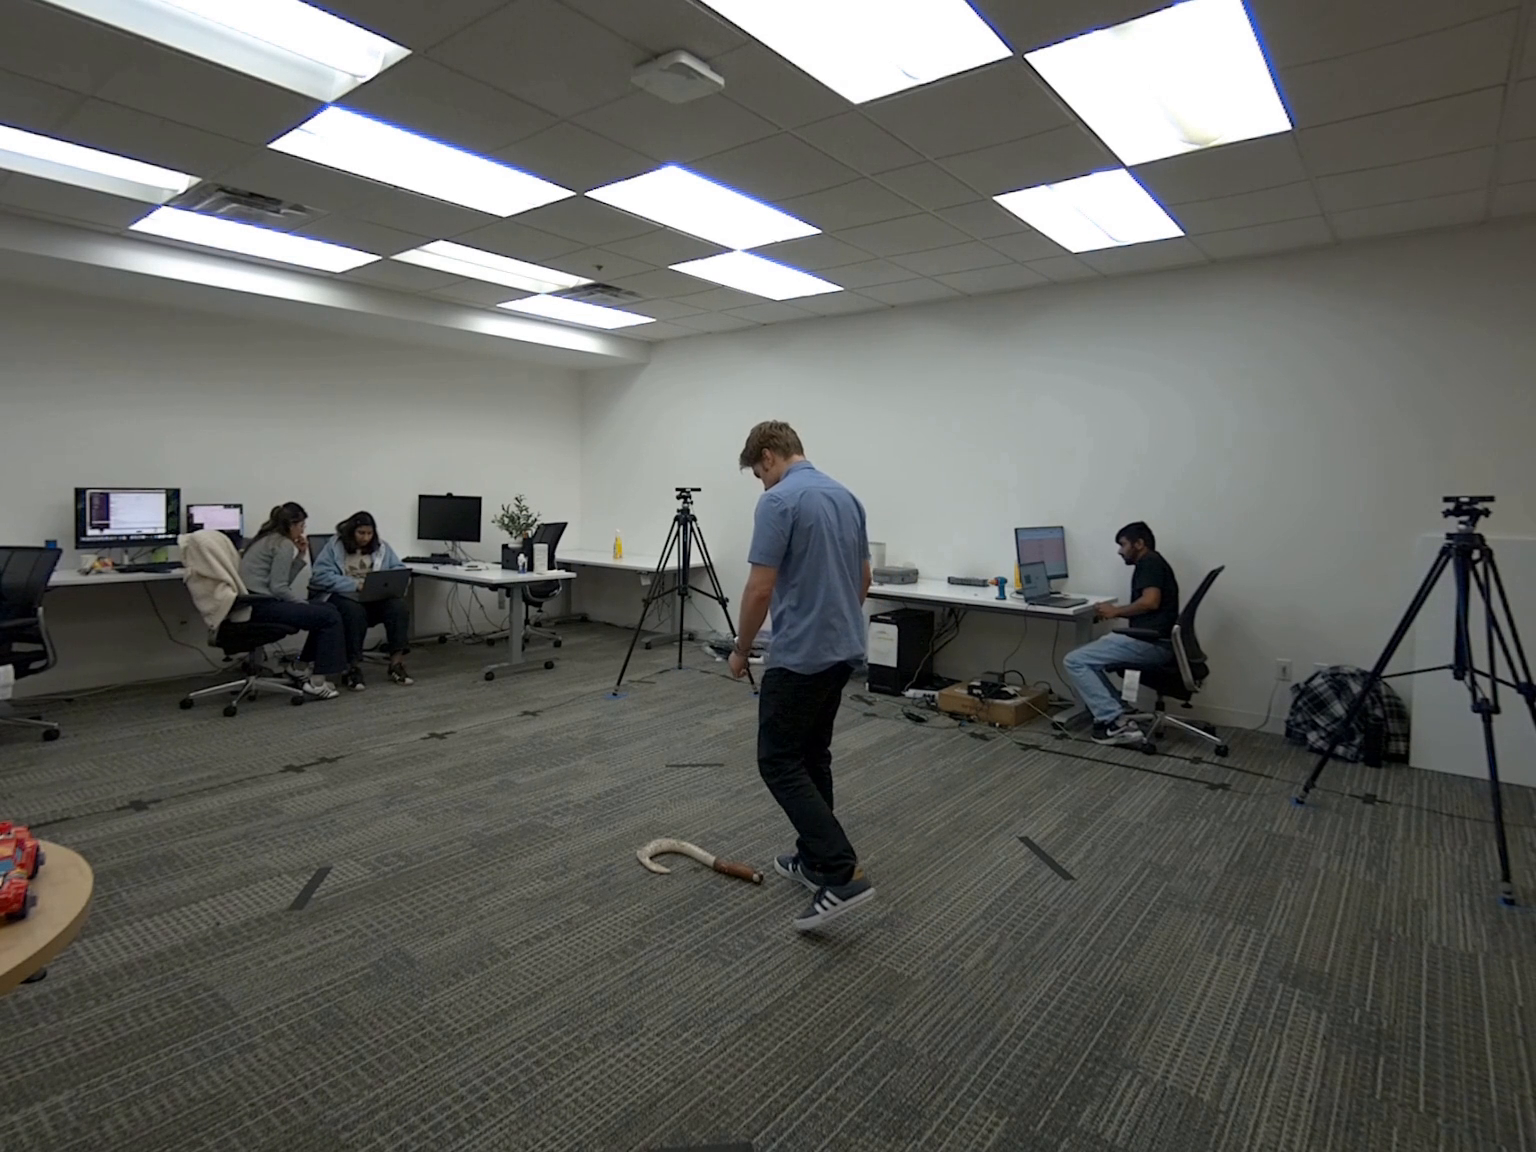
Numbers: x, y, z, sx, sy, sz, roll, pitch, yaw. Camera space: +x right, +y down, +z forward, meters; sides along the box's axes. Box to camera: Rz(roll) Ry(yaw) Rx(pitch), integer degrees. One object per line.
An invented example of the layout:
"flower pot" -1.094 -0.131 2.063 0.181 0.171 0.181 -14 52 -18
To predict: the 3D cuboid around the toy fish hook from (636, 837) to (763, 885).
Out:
"toy fish hook" -0.266 1.053 3.094 0.523 0.048 0.220 4 15 35
